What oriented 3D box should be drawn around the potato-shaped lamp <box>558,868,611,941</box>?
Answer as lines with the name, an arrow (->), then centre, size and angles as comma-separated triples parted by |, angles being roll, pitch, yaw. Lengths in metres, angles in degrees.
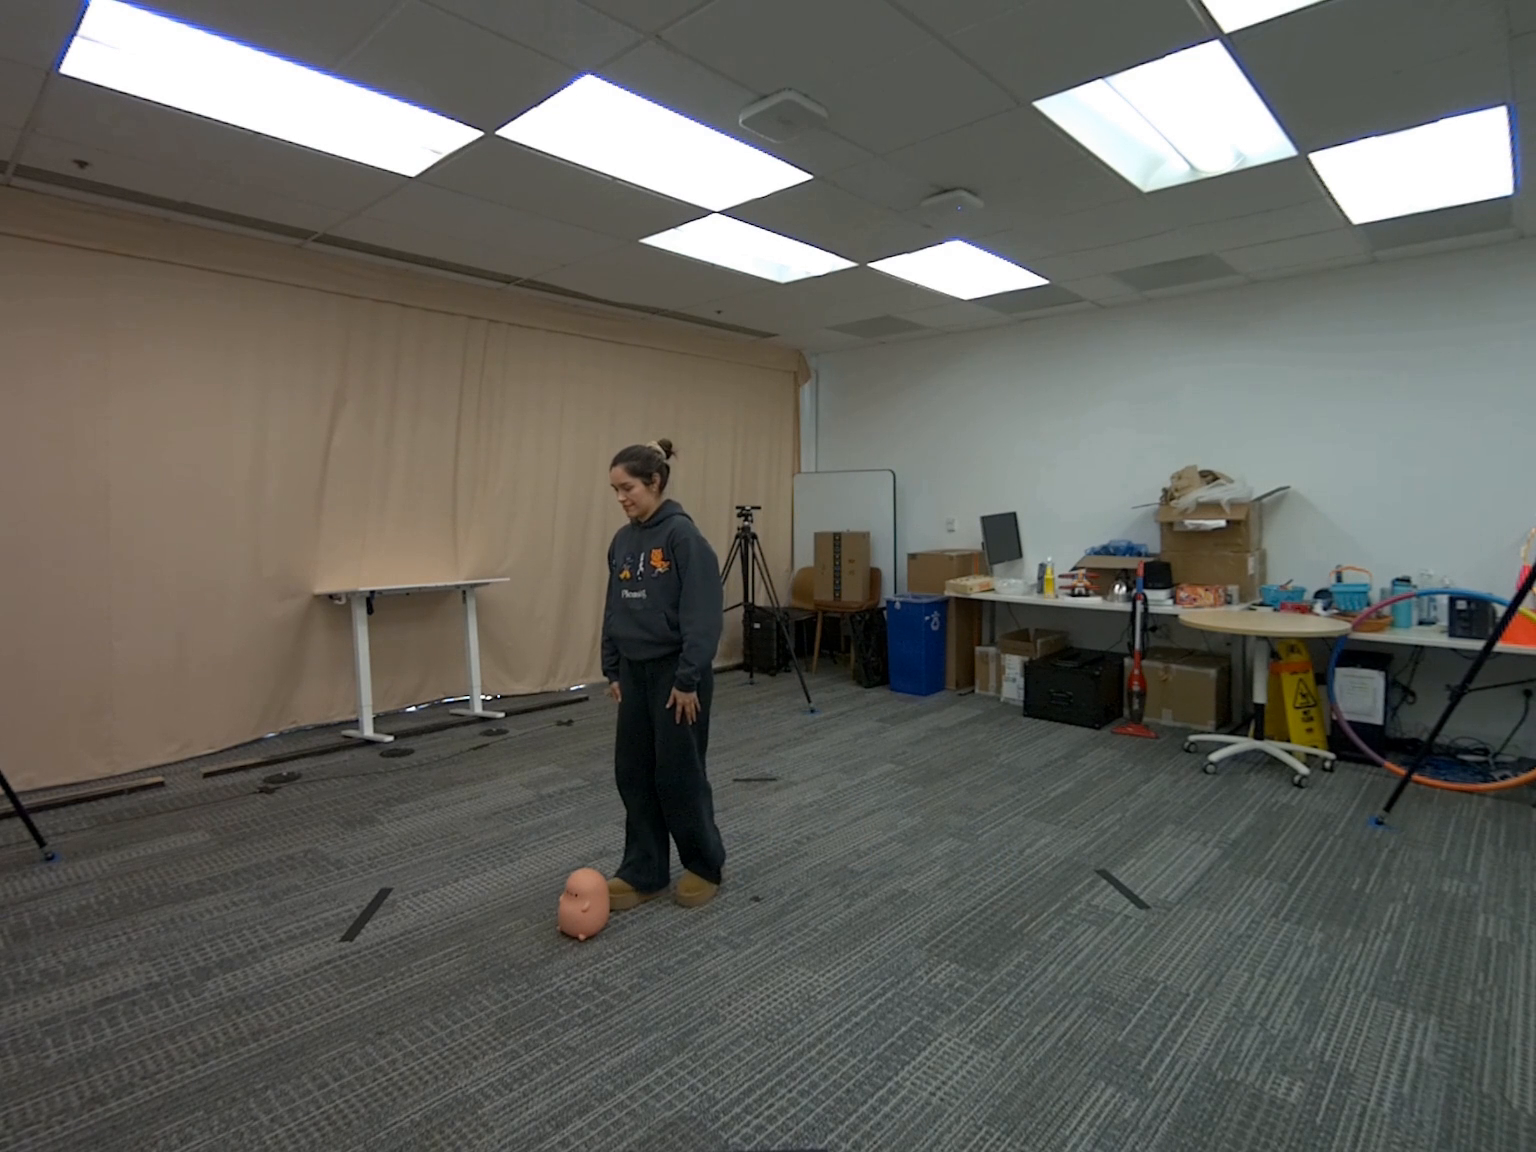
potato-shaped lamp -> -0.584, 1.071, 2.769 | 0.169, 0.198, 0.166 | 1, 3, 32
